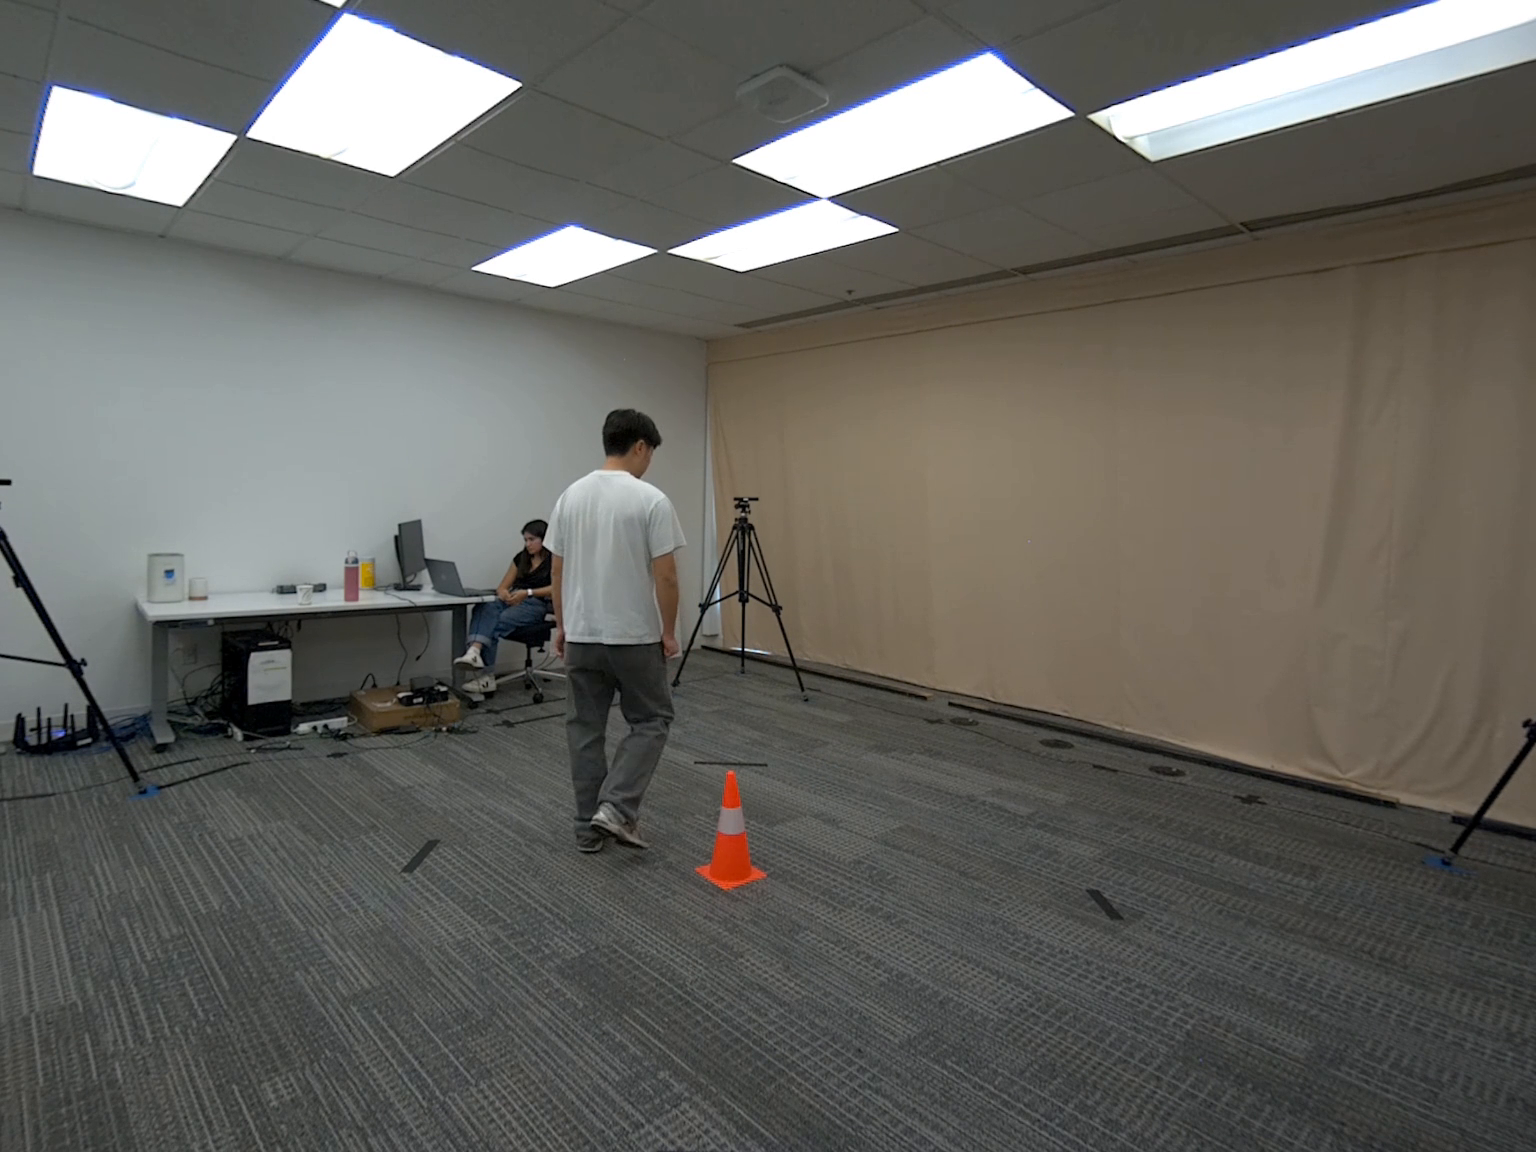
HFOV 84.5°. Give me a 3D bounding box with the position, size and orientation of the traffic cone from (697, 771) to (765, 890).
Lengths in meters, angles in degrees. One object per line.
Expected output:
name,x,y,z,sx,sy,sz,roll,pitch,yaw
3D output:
traffic cone,-0.144,0.924,3.112,0.199,0.382,0.210,-3,6,-39
